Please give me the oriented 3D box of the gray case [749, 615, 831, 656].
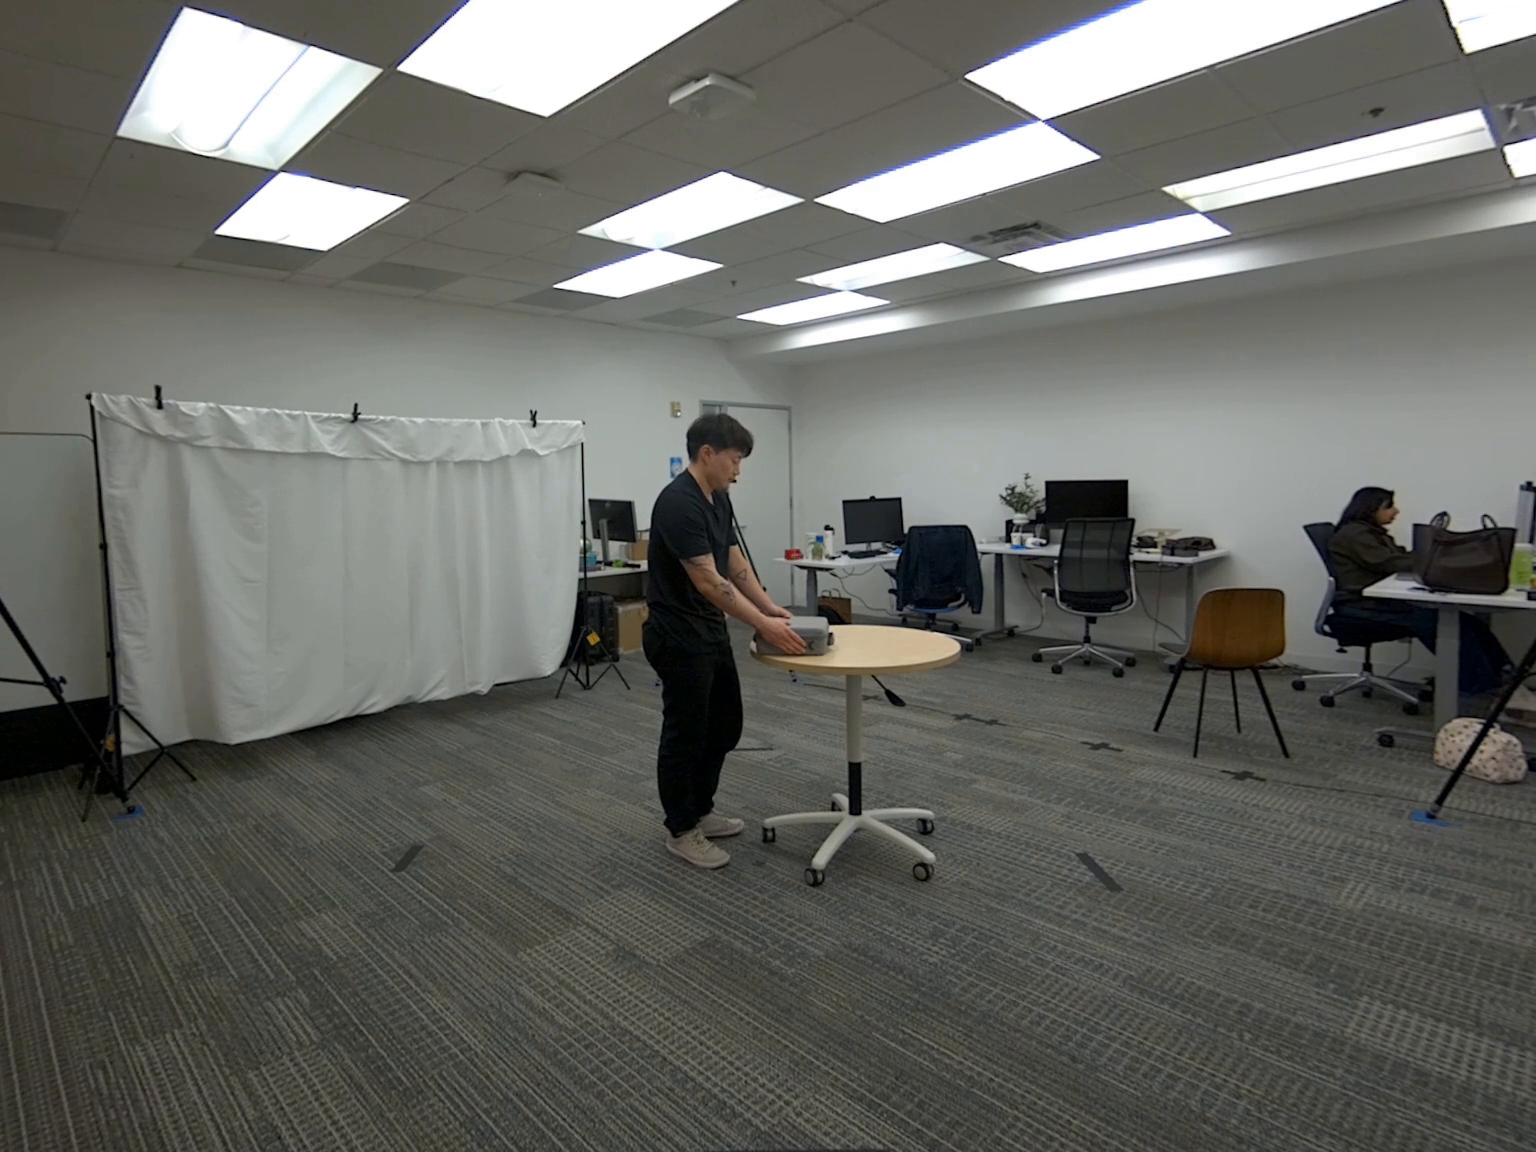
[{"bbox_3d":[0.097,0.213,3.088,0.263,0.104,0.255,-1,5,8],"label":"gray case"}]
